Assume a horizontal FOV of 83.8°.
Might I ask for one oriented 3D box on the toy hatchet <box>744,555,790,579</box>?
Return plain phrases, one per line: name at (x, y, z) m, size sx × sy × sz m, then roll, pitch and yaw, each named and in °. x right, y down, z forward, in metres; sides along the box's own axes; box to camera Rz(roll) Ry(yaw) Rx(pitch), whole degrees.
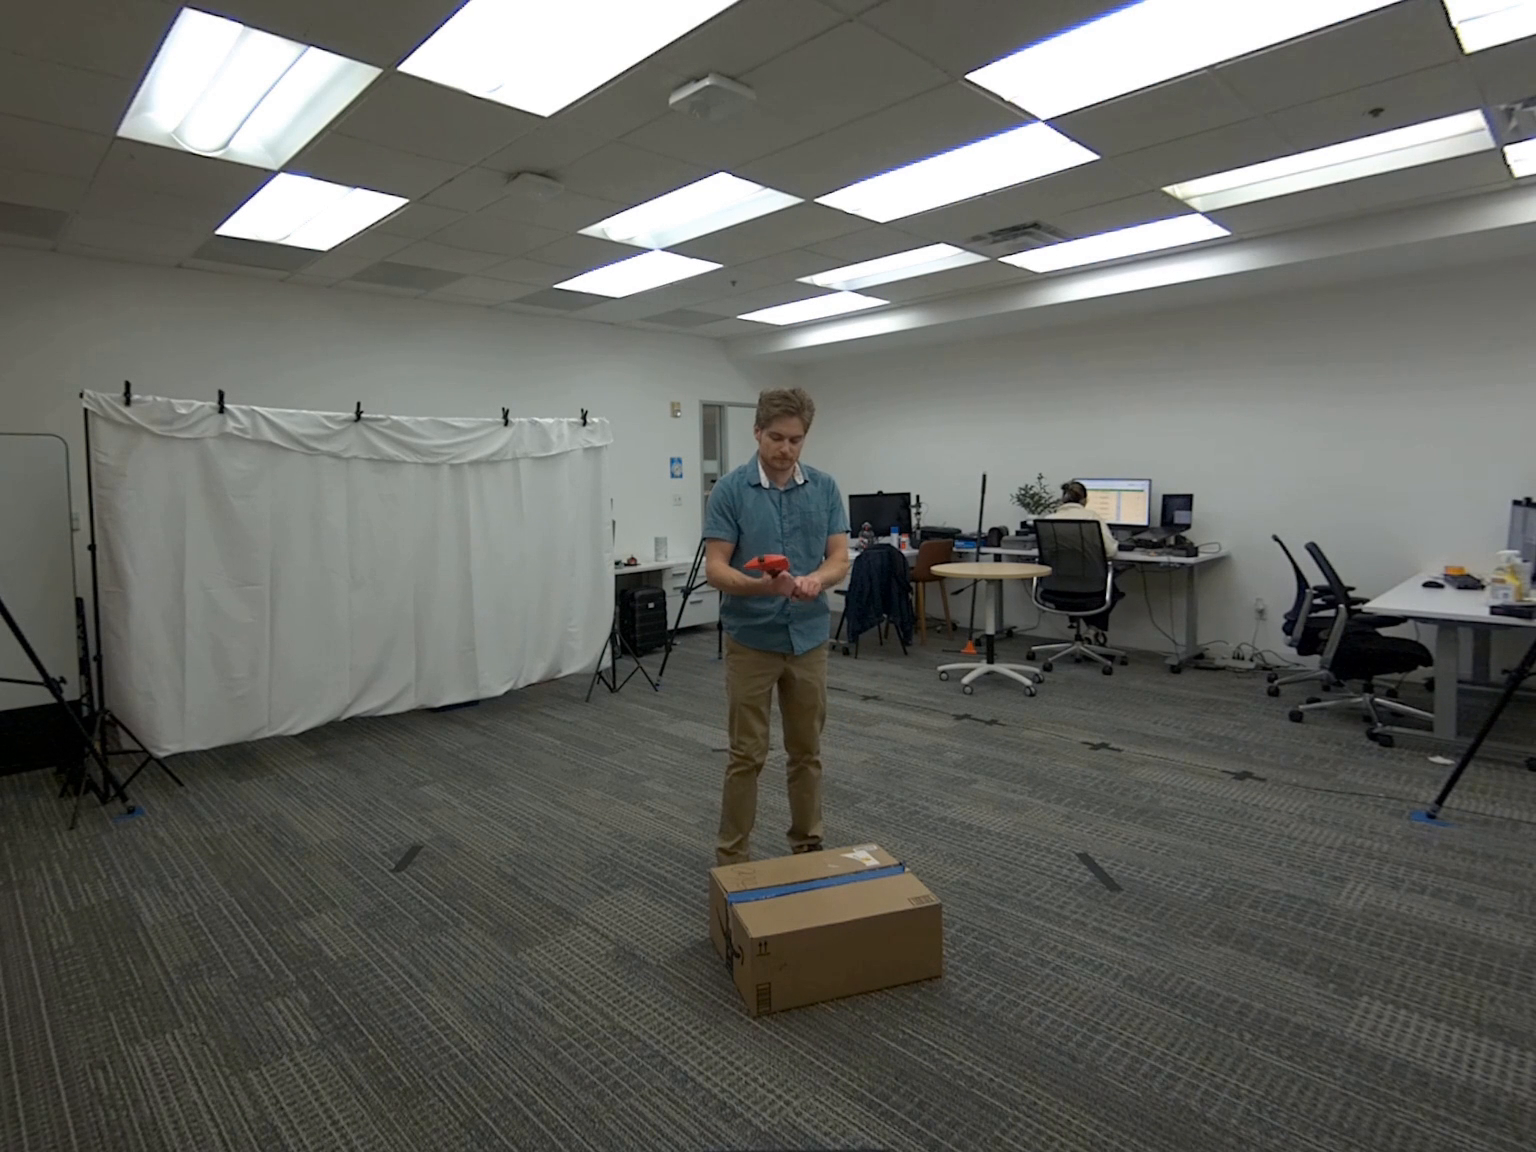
toy hatchet at (0.067, 0.006, 2.540) m, size 0.260 × 0.030 × 0.133 m, roll 27°, pitch -38°, yaw -37°
